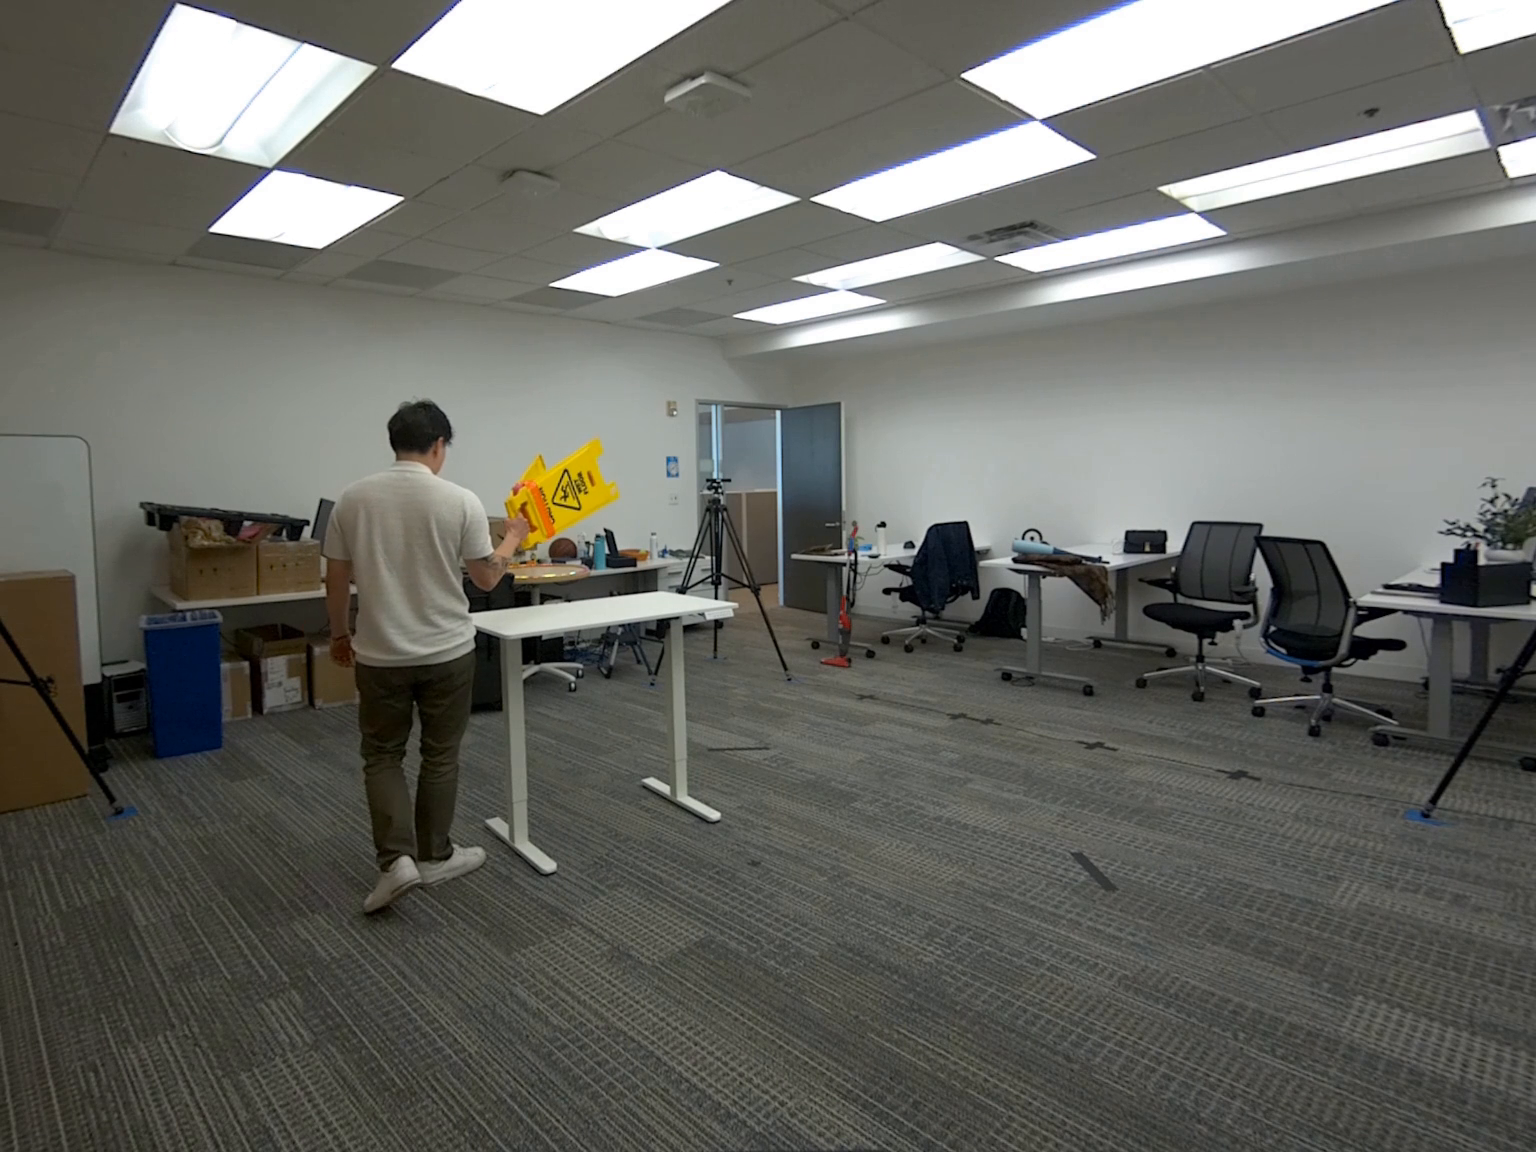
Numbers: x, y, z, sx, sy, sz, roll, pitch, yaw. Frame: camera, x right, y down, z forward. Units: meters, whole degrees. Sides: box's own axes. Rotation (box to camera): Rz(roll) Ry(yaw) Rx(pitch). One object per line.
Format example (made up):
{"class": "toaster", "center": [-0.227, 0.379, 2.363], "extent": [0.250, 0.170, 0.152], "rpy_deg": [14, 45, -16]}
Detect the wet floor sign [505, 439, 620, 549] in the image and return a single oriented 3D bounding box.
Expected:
{"class": "wet floor sign", "center": [-0.873, -0.309, 3.425], "extent": [0.293, 0.276, 0.652], "rpy_deg": [-14, 20, 15]}
